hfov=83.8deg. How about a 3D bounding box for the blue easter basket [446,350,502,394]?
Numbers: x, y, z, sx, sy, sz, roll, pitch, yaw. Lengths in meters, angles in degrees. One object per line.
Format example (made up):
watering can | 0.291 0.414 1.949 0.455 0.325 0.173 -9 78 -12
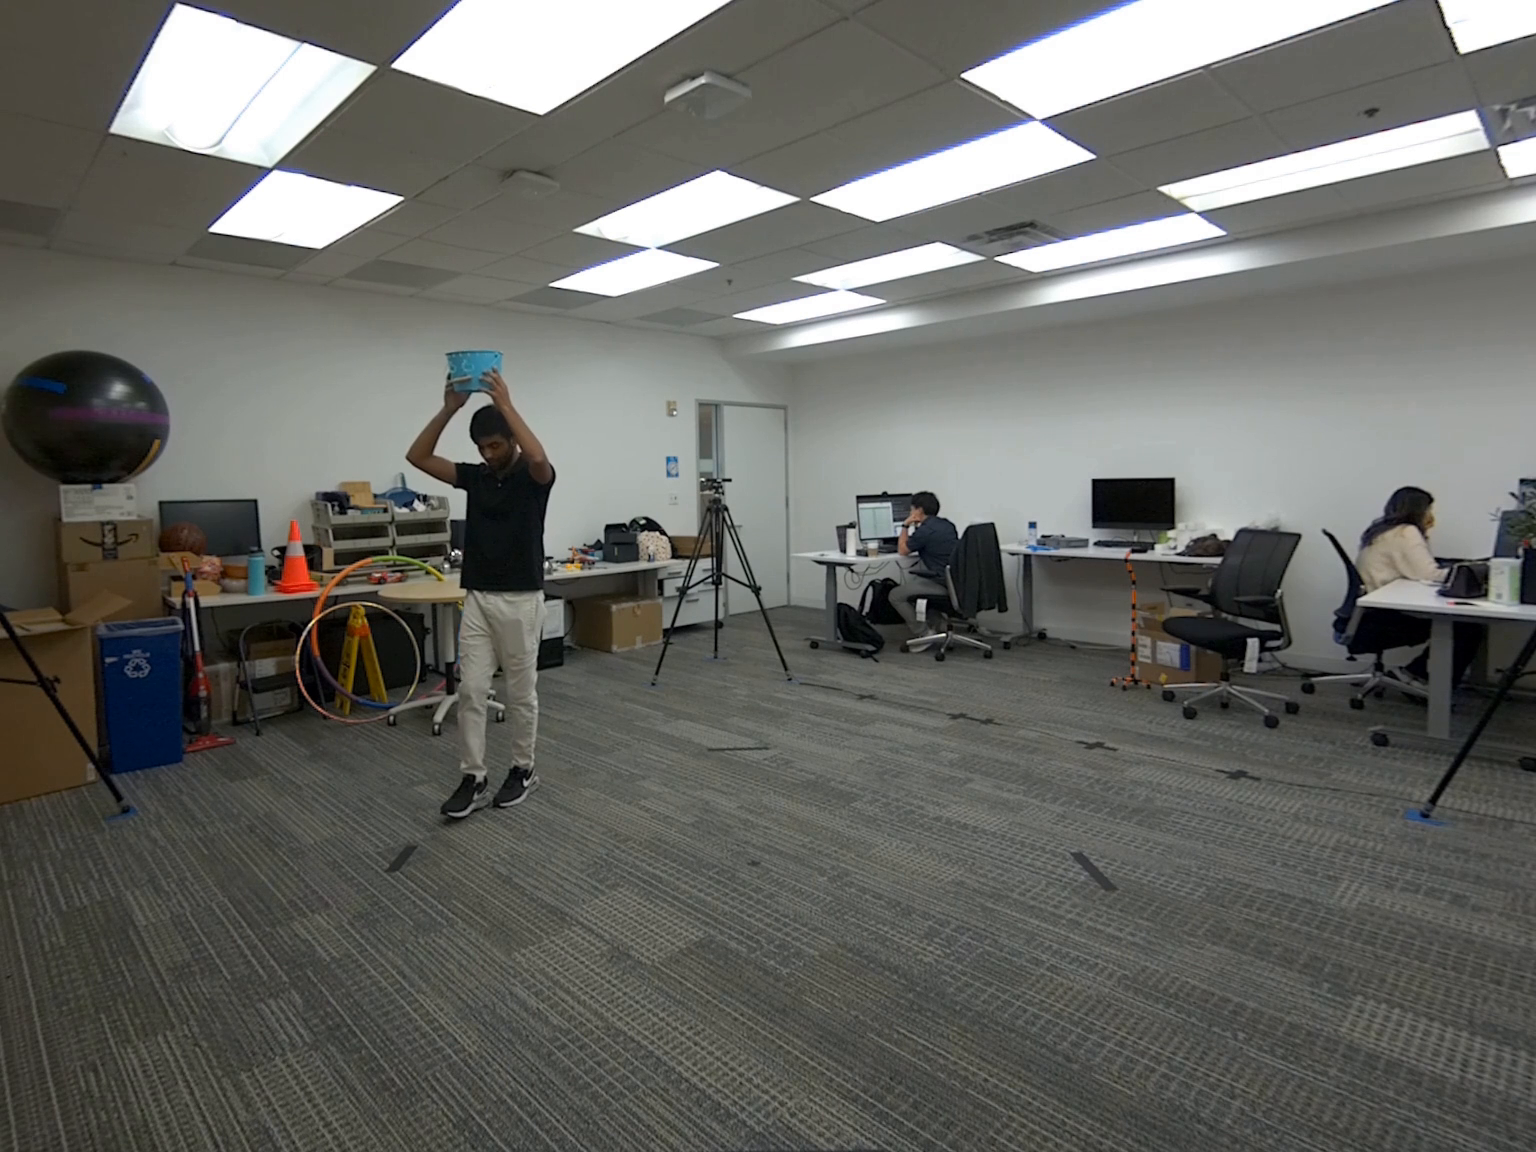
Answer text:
blue easter basket | -1.216 -0.841 3.522 0.243 0.155 0.245 -3 6 -1
